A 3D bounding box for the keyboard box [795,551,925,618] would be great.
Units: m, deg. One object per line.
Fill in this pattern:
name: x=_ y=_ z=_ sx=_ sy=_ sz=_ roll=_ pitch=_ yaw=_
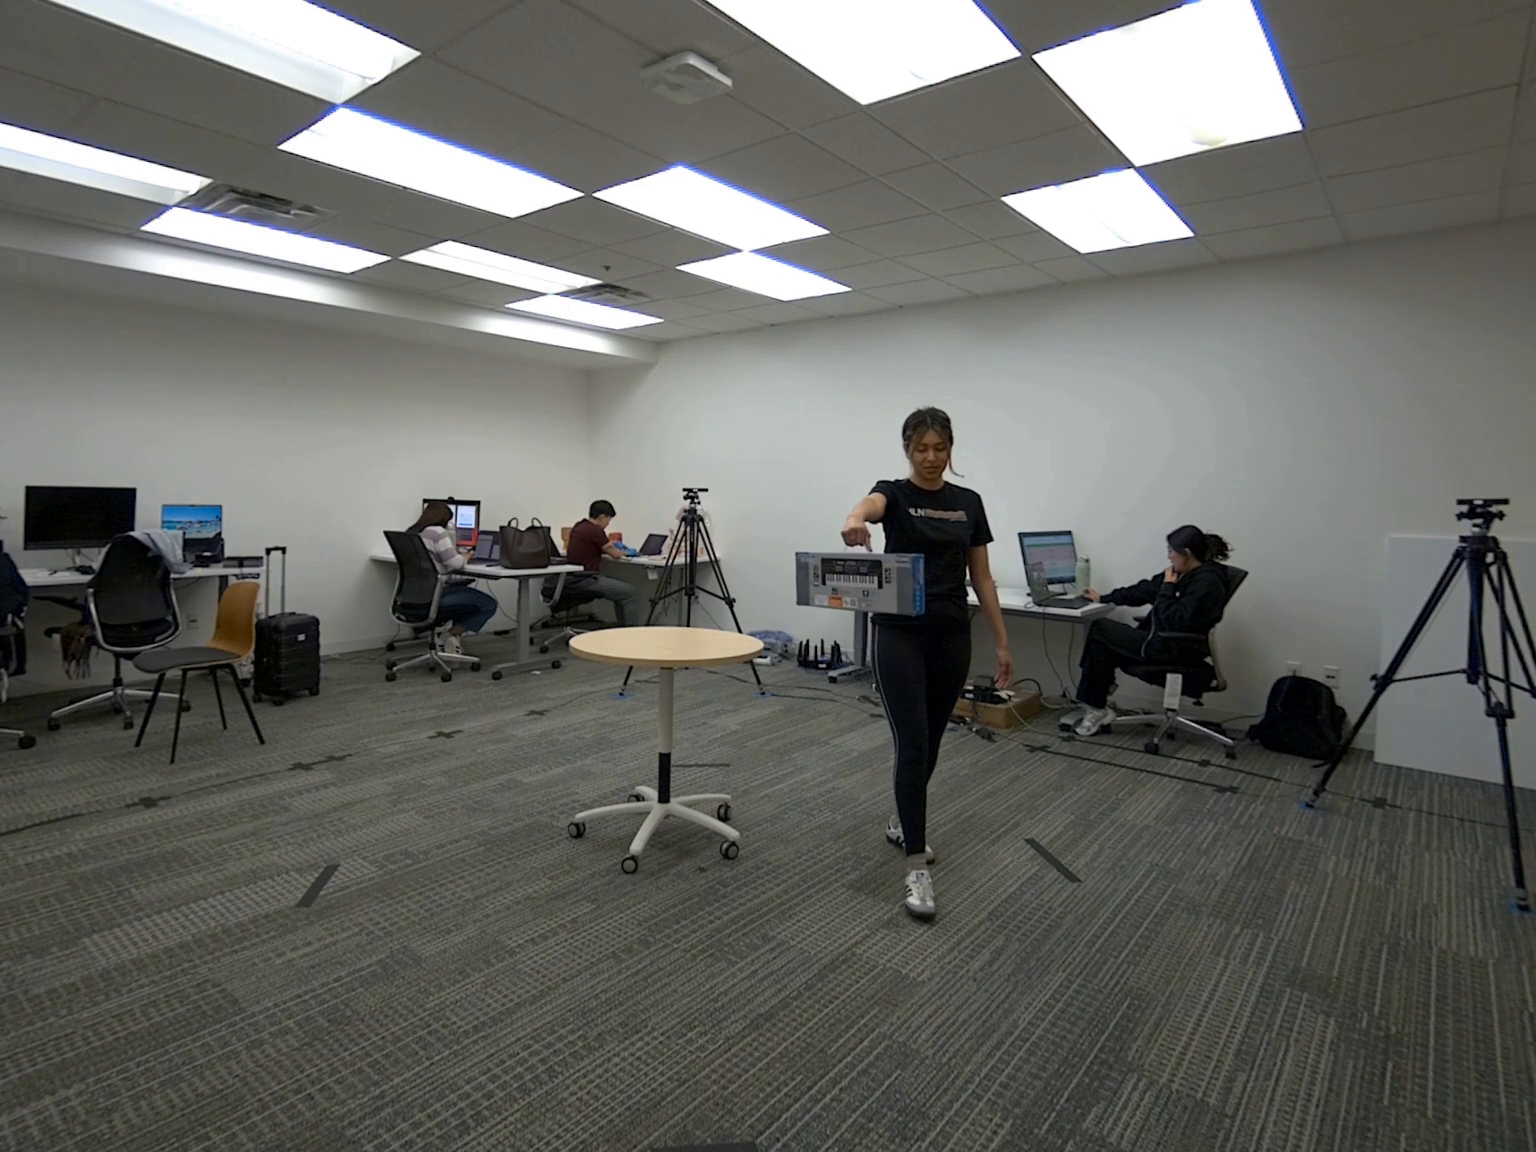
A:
keyboard box: x=0.262 y=0.015 z=2.572 sx=0.451 sy=0.175 sz=0.057 roll=3 pitch=5 yaw=44
